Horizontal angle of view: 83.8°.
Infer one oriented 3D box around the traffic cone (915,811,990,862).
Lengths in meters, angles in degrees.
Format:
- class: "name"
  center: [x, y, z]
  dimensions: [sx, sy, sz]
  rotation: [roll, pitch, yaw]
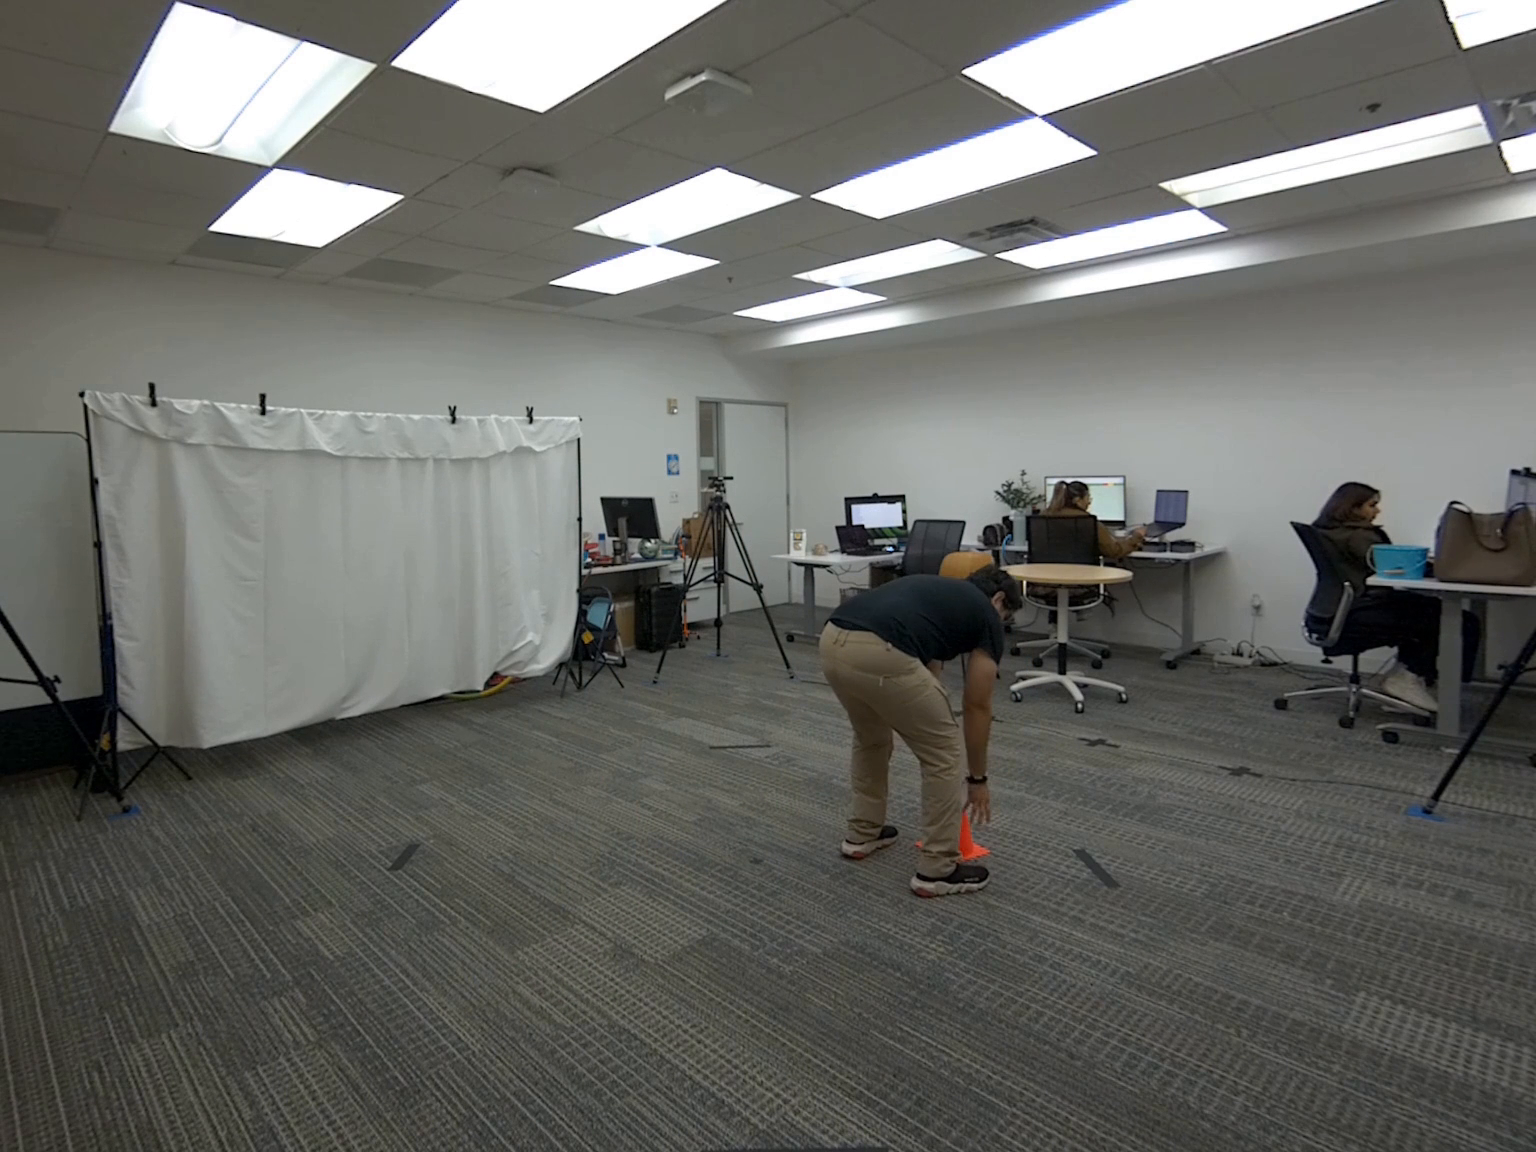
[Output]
- class: "traffic cone"
  center: [0.676, 0.824, 3.168]
  dimensions: [0.200, 0.383, 0.208]
  rotation: [-3, 2, -30]
